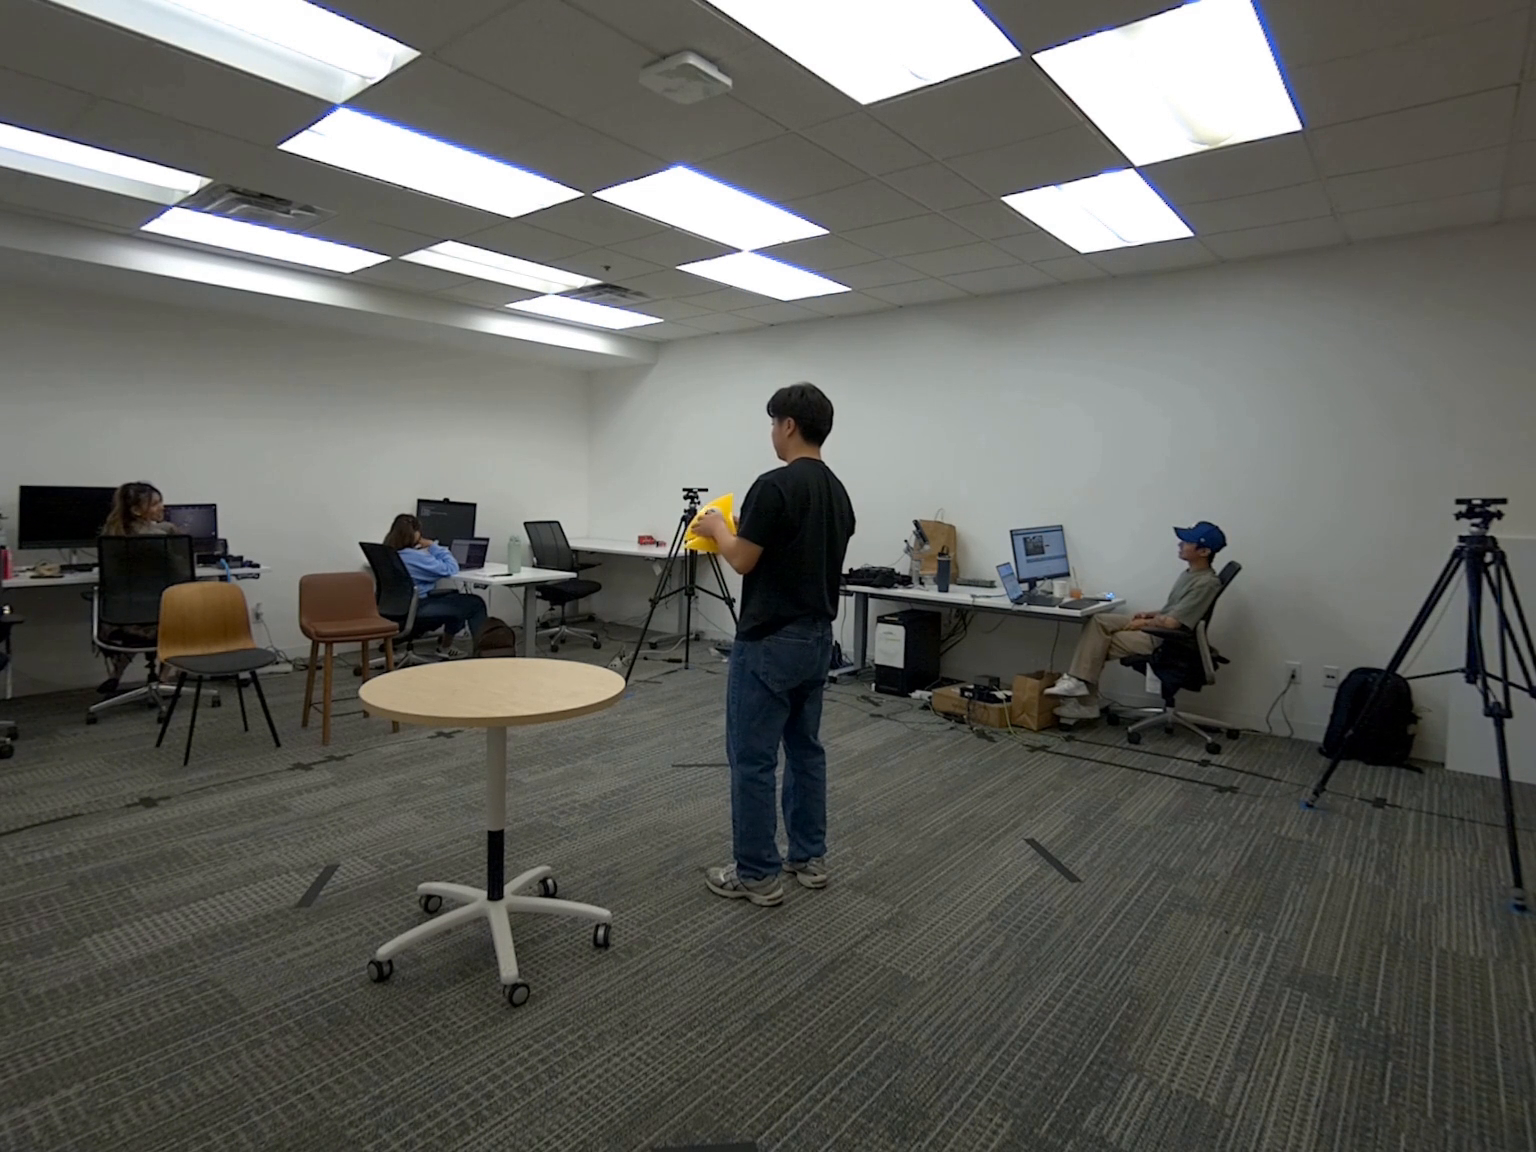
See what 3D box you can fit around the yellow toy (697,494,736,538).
[{"bbox_3d":[-0.222,-0.206,3.190,0.192,0.231,0.206,9,1,-7],"label":"yellow toy"}]
